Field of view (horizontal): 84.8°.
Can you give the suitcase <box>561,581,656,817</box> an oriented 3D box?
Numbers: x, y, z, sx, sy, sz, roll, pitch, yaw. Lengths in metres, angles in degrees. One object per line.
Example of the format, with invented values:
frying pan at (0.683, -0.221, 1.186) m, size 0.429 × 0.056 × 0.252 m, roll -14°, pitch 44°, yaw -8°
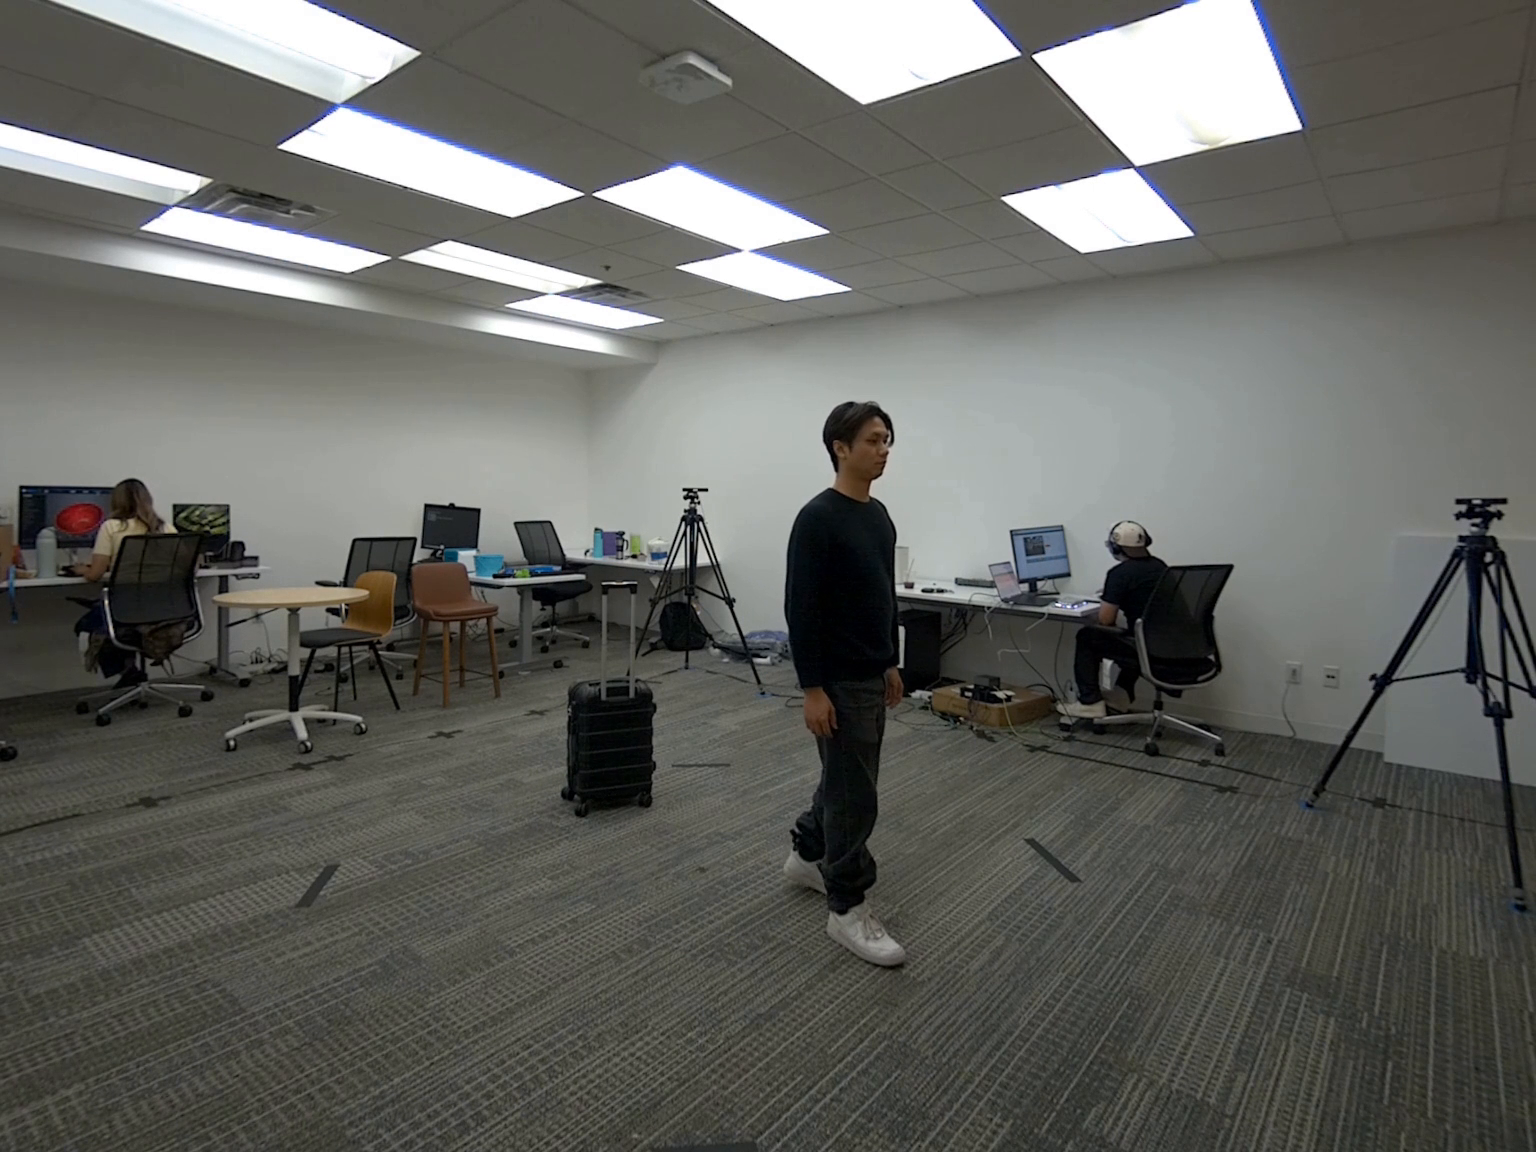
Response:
suitcase at (-0.716, 0.521, 3.763) m, size 0.376 × 0.979 × 0.262 m, roll 1°, pitch 0°, yaw -22°
